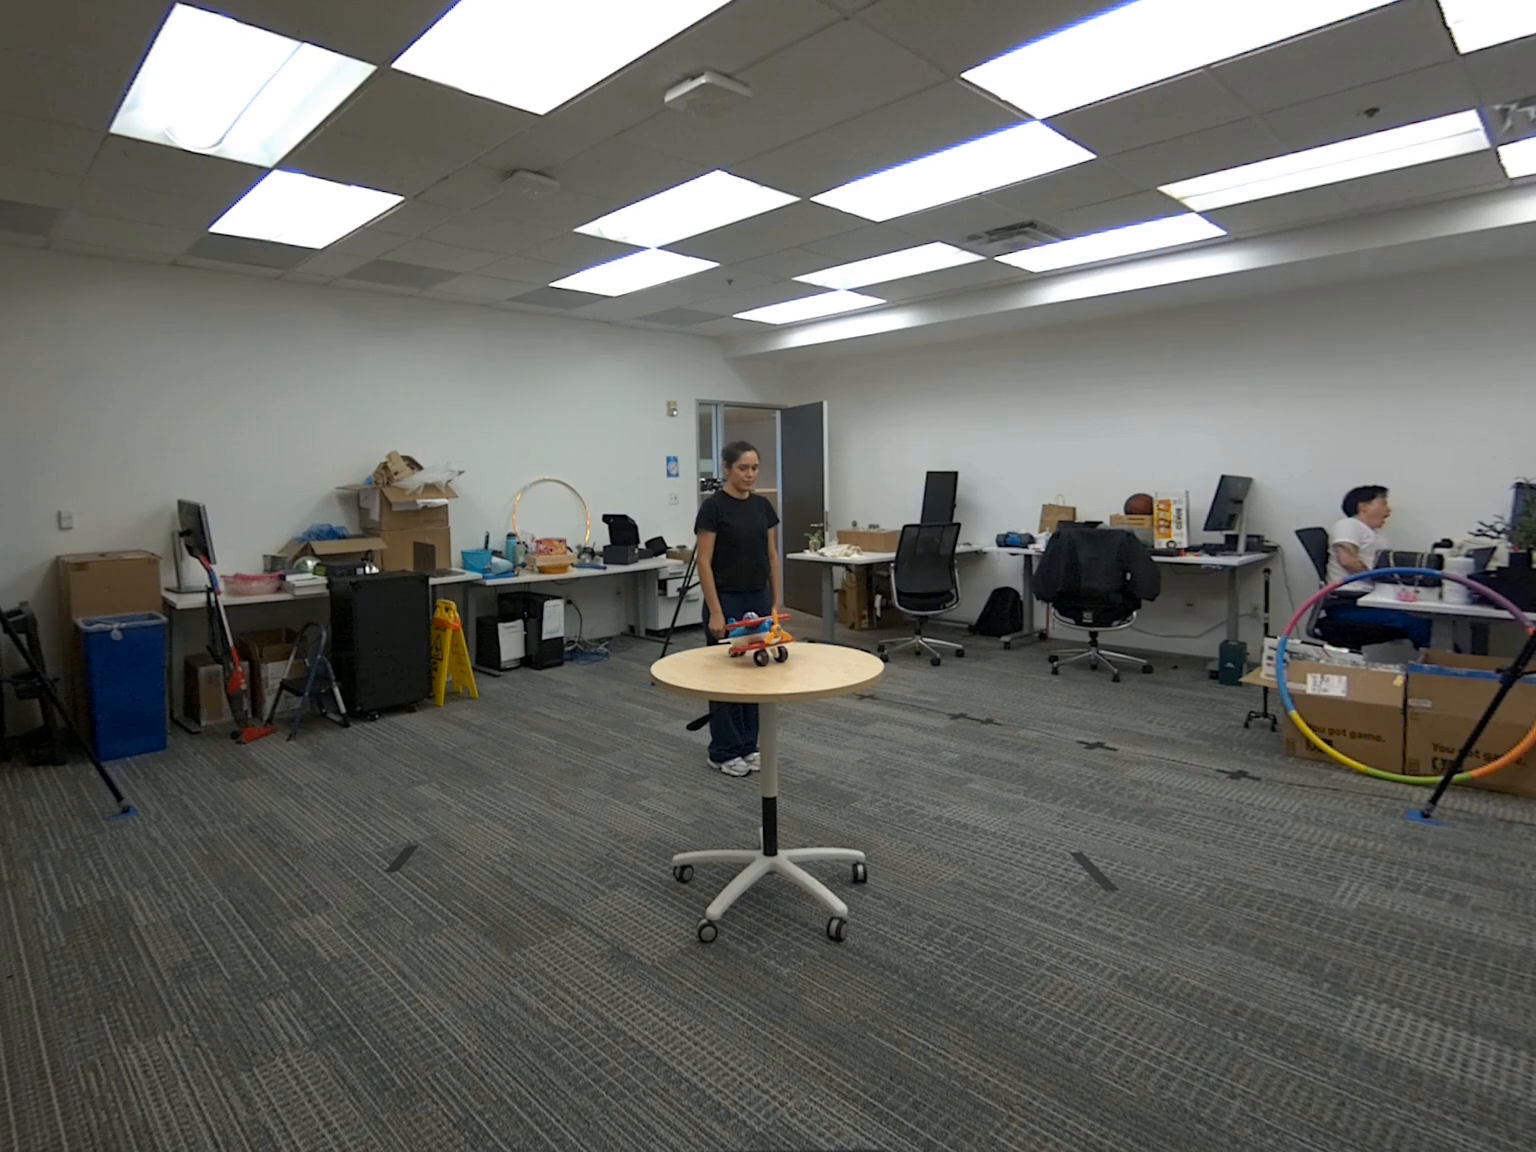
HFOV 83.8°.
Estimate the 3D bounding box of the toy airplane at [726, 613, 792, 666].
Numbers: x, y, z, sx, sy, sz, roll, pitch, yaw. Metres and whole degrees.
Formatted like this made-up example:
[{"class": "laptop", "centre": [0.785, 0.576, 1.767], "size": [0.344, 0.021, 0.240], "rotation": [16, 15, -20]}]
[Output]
[{"class": "toy airplane", "centre": [-0.063, 0.212, 2.898], "size": [0.265, 0.156, 0.247], "rotation": [2, 6, 22]}]
